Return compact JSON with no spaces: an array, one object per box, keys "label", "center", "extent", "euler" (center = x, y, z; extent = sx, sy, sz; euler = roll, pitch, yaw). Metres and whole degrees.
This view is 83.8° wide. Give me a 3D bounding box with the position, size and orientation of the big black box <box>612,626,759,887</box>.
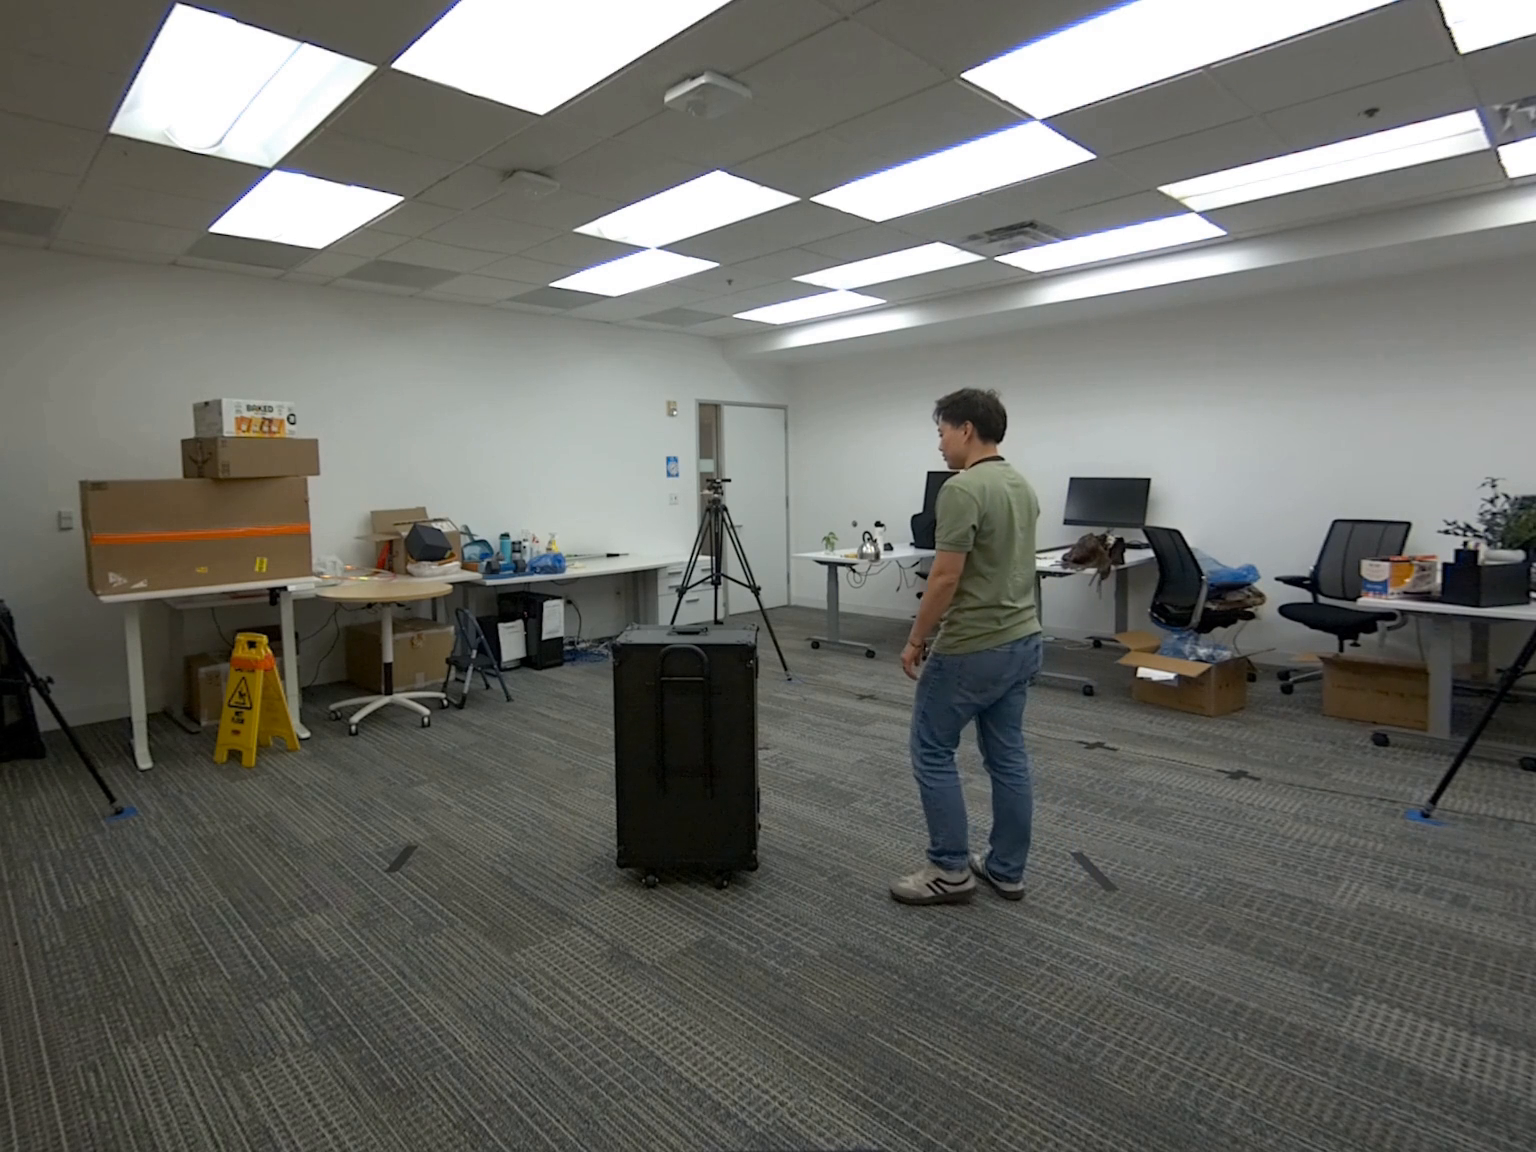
[{"label":"big black box","center":[-0.271,0.630,3.048],"extent":[0.524,0.858,0.396],"euler":[0,5,4]}]
